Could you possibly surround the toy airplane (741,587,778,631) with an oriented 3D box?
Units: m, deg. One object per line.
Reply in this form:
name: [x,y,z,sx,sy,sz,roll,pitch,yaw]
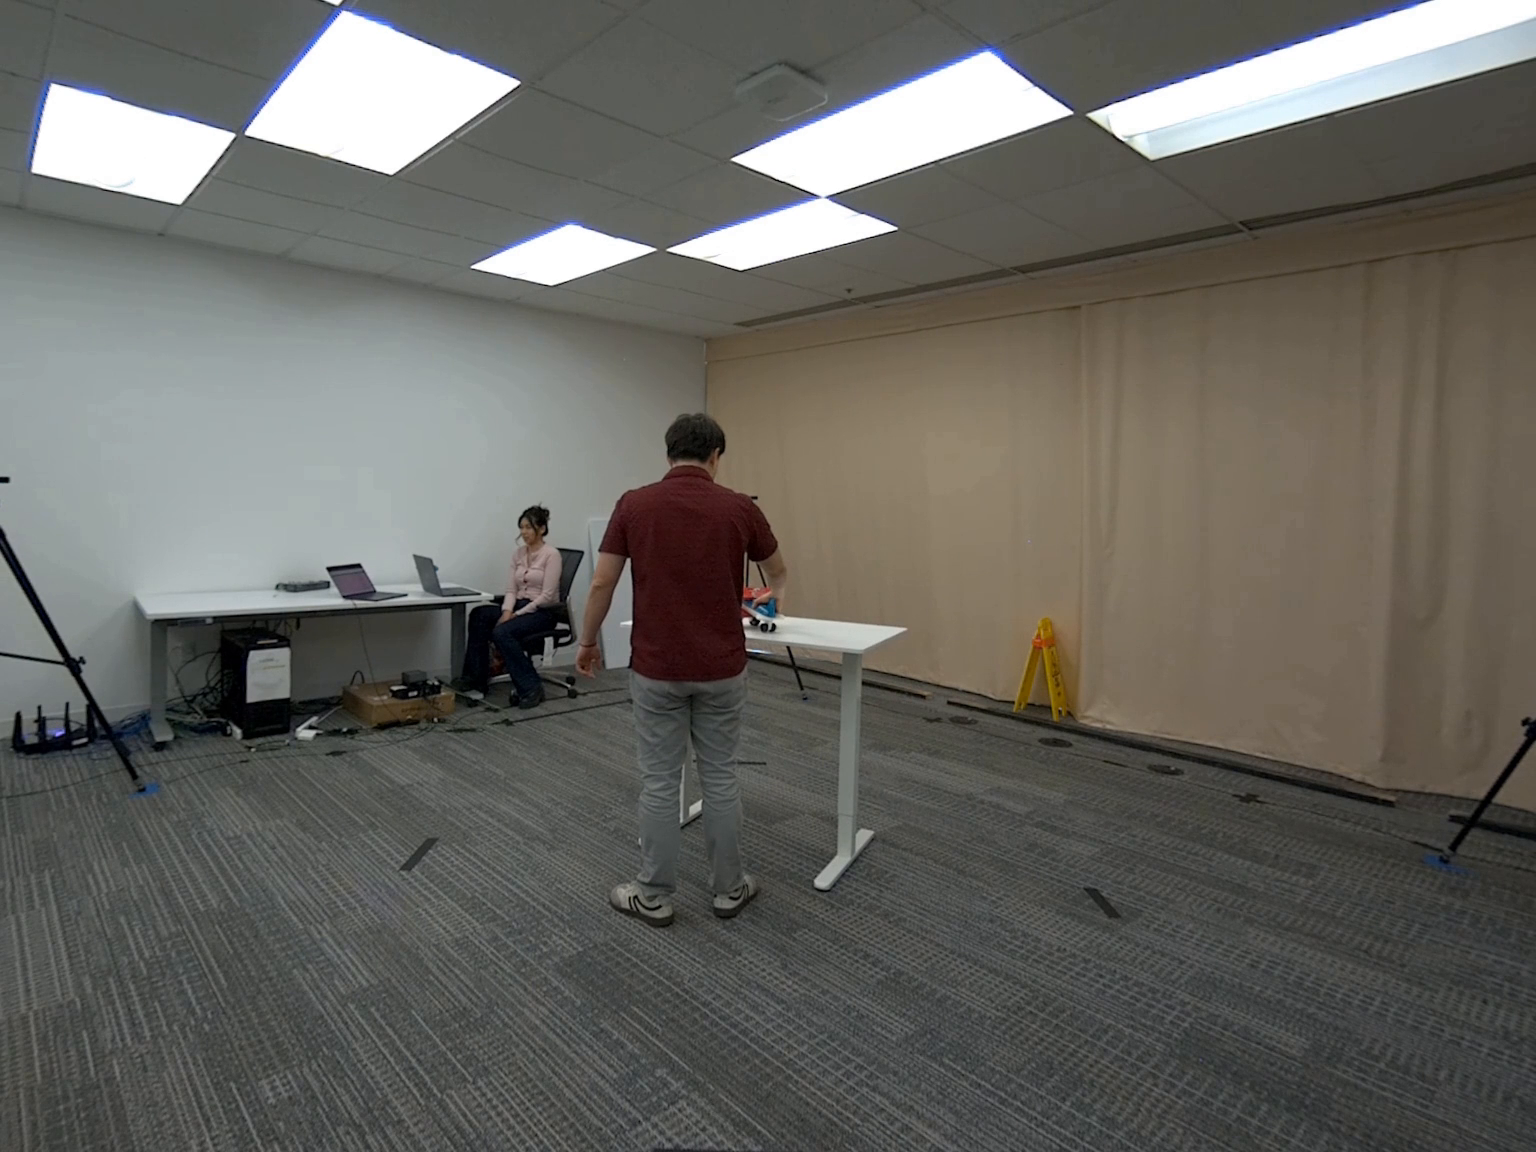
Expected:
toy airplane: [-0.038,0.130,3.285,0.265,0.156,0.246,3,3,33]
